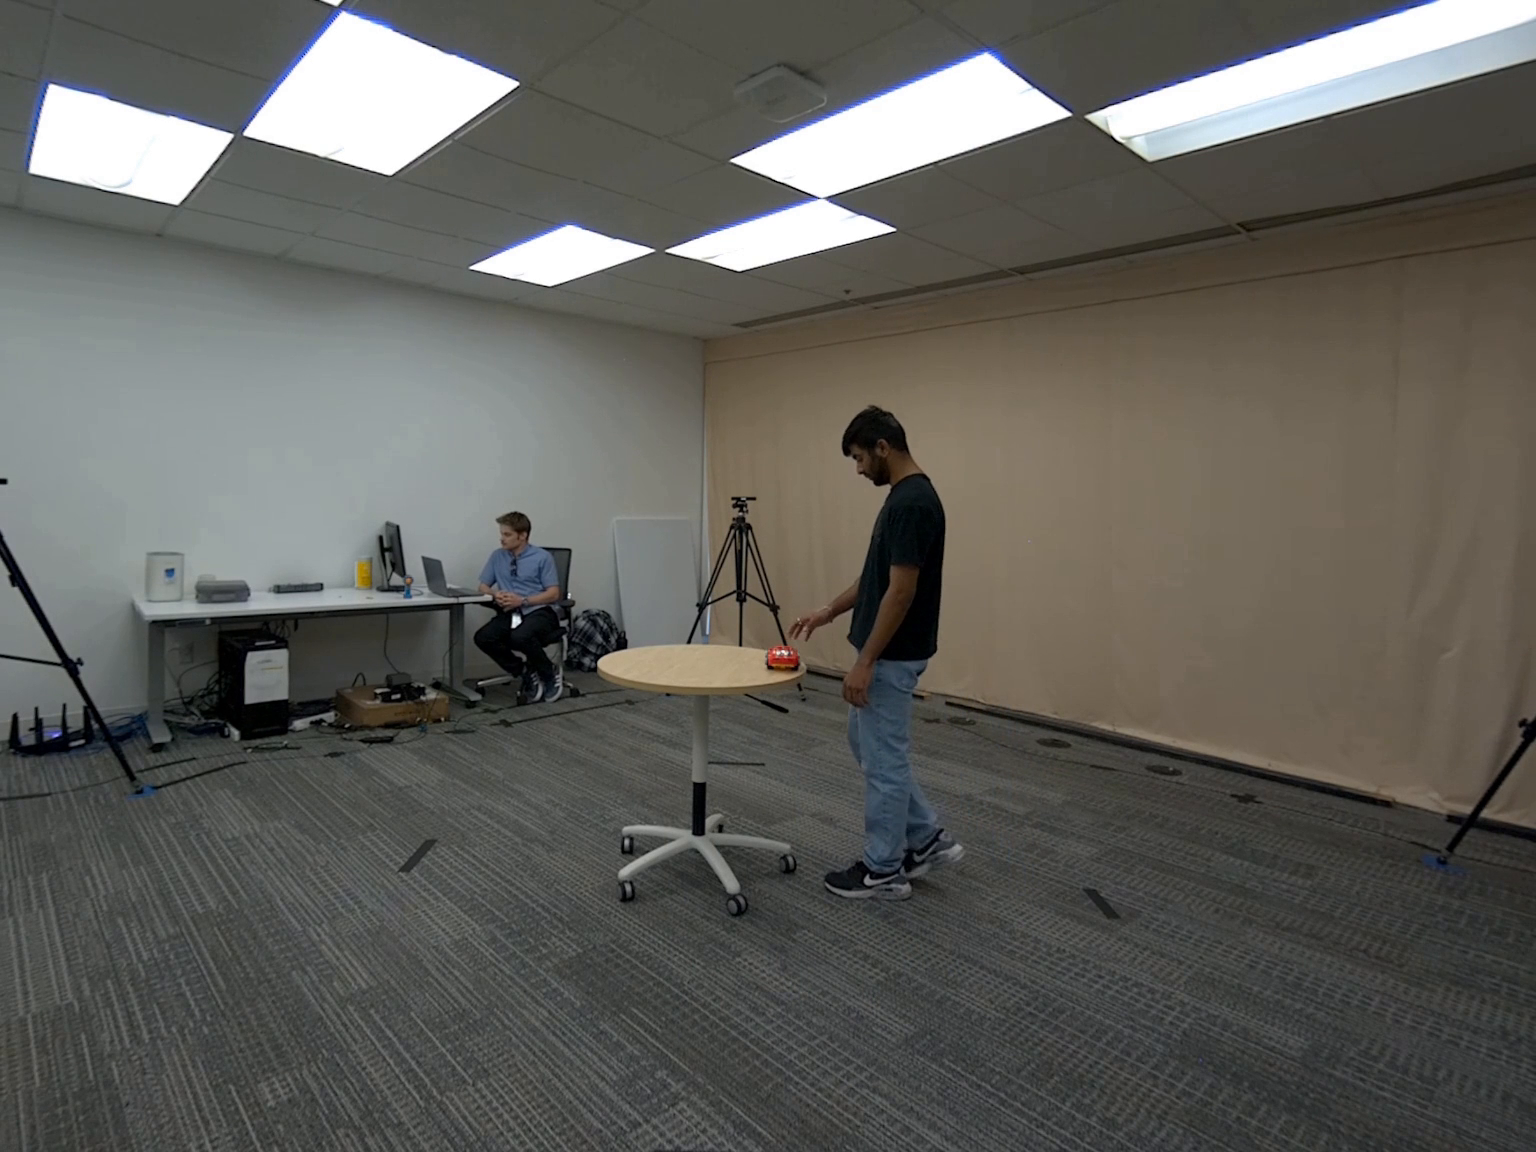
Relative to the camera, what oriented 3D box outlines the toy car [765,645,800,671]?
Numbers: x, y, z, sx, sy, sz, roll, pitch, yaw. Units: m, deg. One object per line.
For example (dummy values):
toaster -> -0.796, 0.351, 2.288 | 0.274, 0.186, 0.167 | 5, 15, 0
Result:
toy car -> 0.052, 0.301, 3.074 | 0.130, 0.083, 0.253 | 2, -6, 1
